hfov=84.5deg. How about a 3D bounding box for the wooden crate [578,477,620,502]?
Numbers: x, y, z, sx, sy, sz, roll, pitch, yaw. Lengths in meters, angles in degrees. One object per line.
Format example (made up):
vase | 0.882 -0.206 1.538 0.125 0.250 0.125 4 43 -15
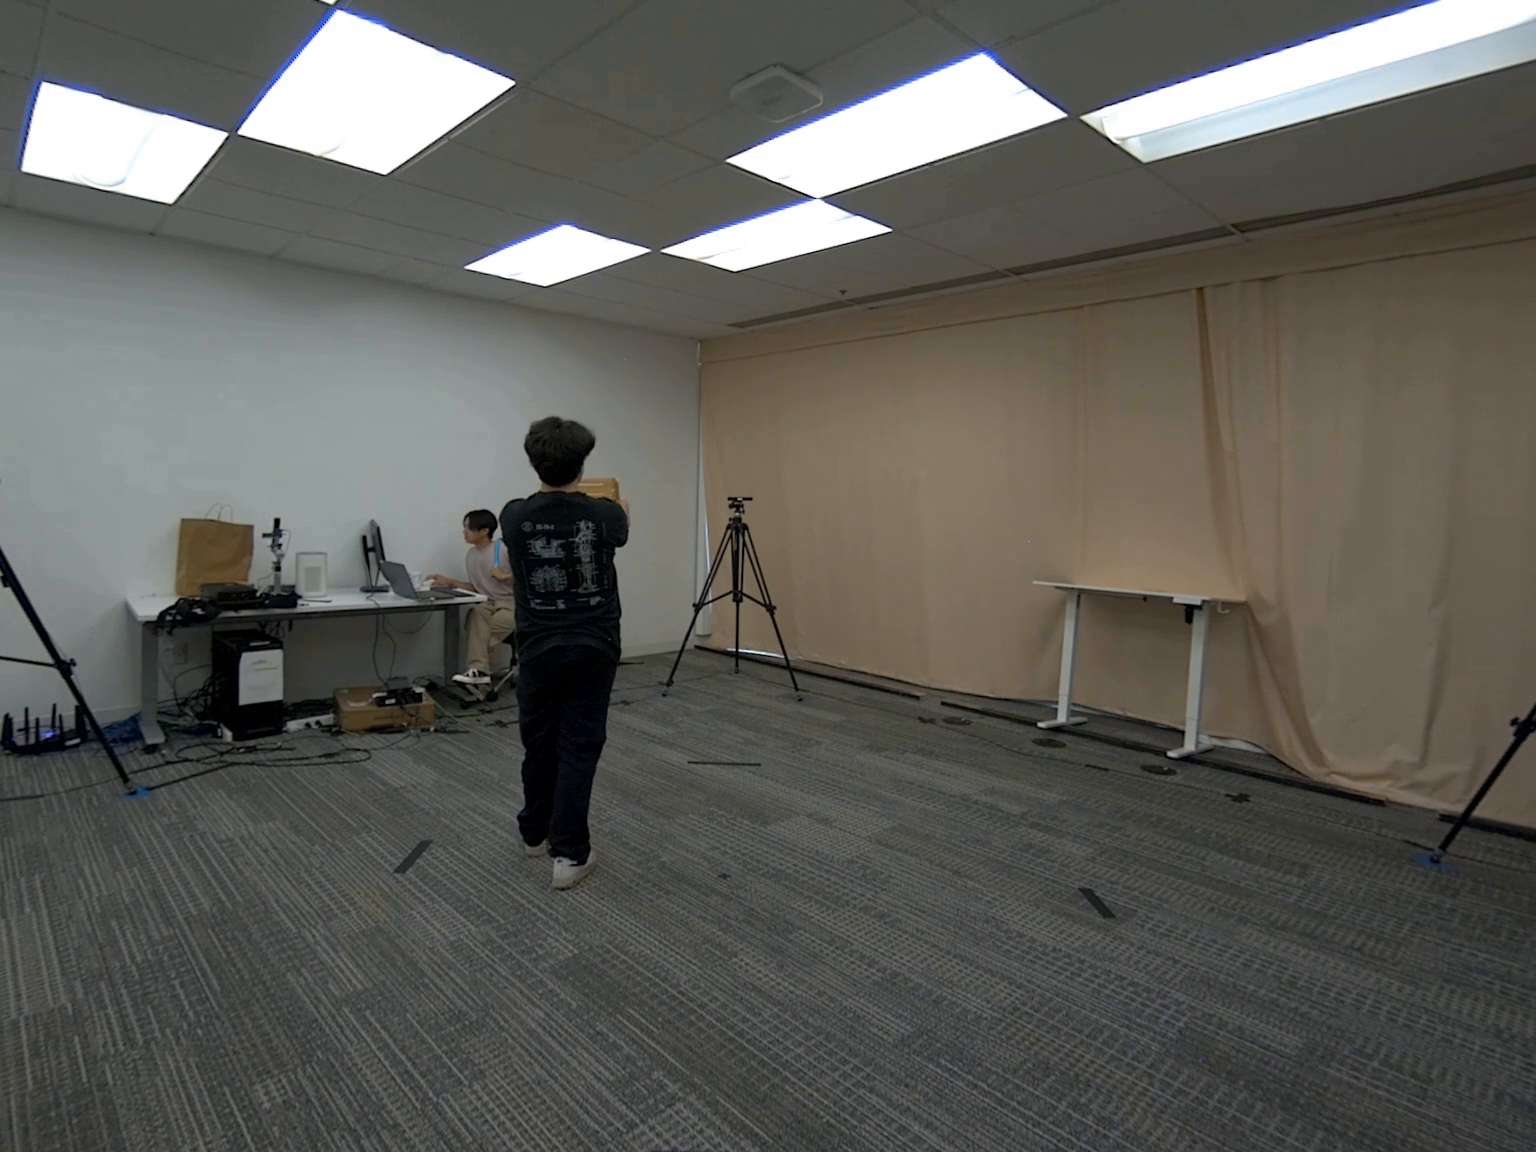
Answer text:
wooden crate | -0.824 -0.294 3.662 0.323 0.273 0.304 -1 4 -7
